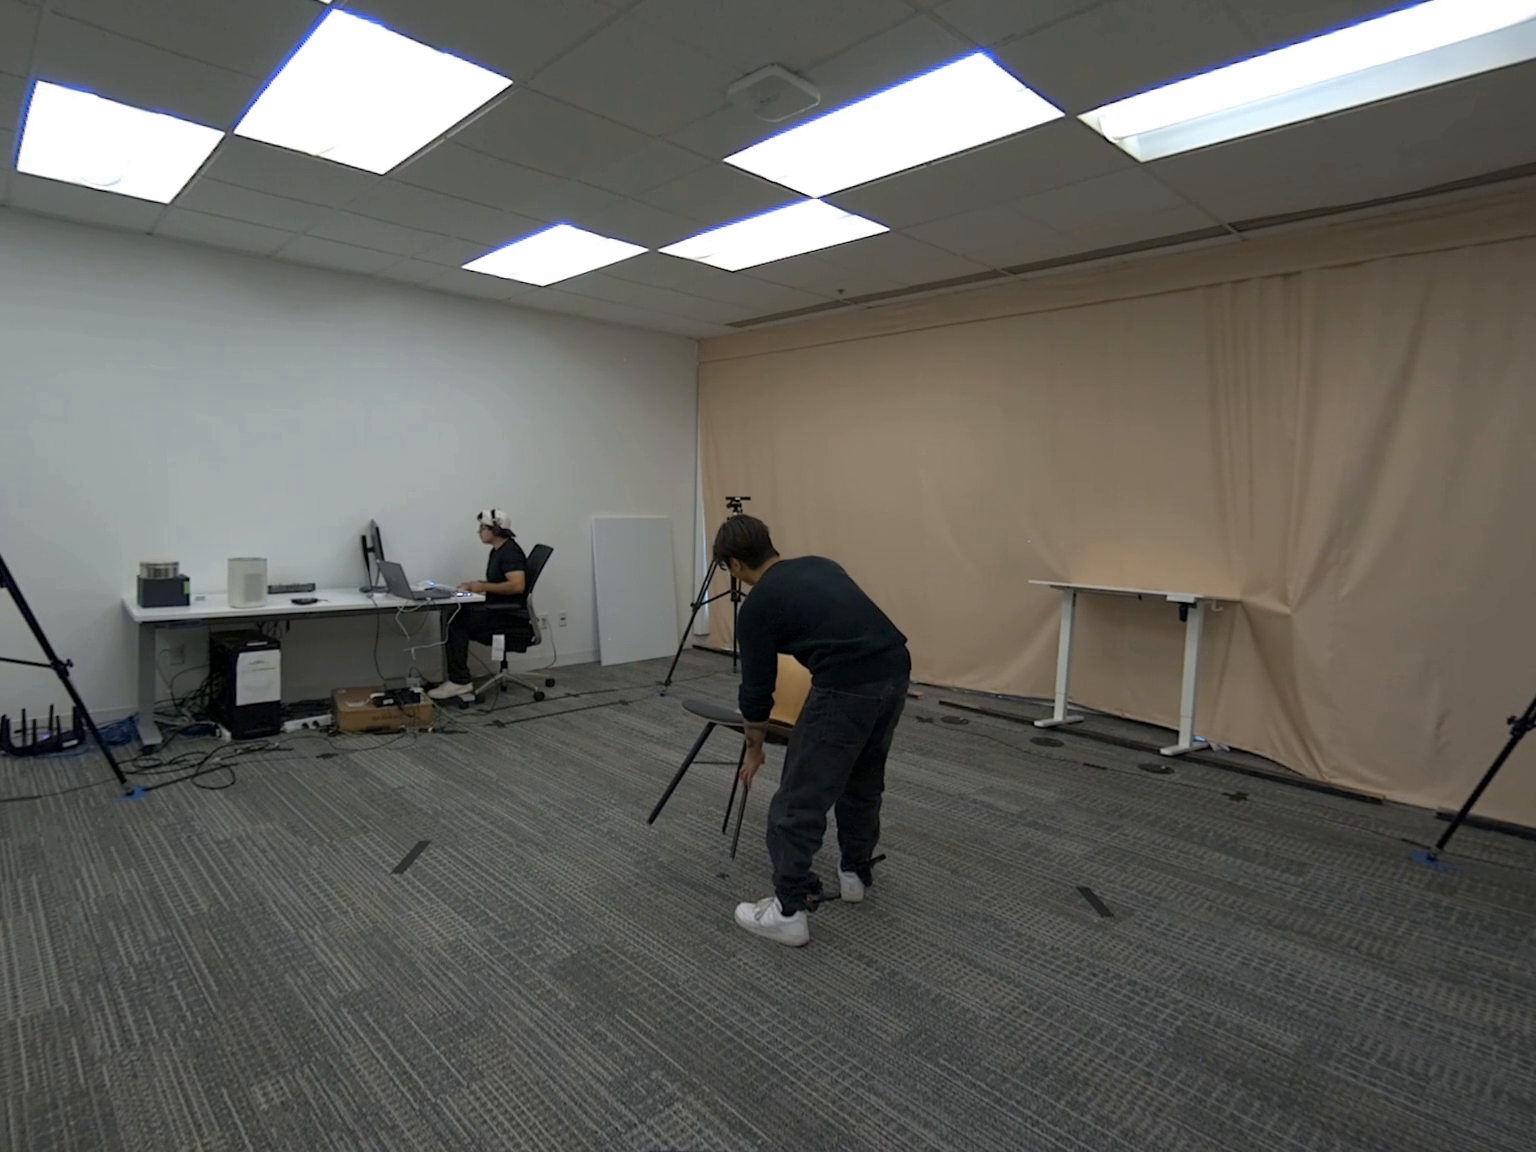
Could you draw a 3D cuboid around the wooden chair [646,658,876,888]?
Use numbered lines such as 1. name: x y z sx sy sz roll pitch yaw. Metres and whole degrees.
1. wooden chair: -0.064 0.614 3.265 0.490 0.883 0.507 5 -19 42
